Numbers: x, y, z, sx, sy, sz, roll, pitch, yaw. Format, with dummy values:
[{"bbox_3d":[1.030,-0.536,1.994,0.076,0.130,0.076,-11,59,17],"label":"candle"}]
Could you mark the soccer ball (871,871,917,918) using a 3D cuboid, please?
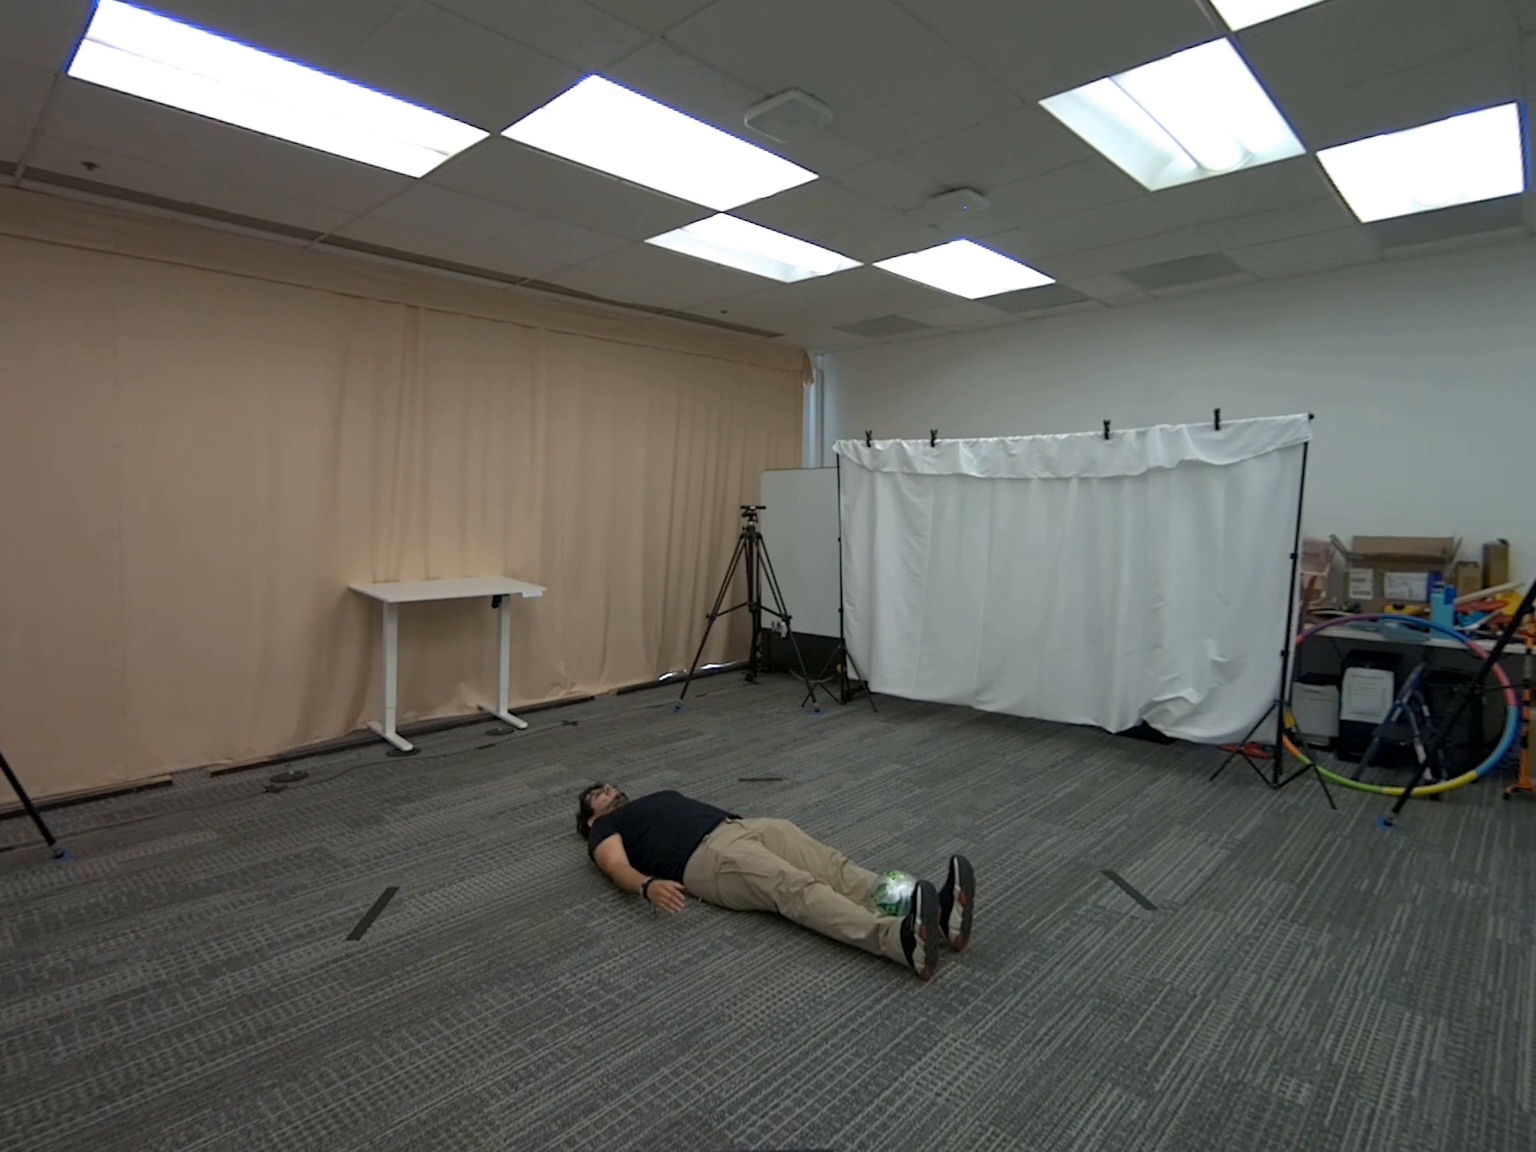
[{"bbox_3d":[0.419,1.030,2.639,0.187,0.187,0.188,0,4,-2],"label":"soccer ball"}]
